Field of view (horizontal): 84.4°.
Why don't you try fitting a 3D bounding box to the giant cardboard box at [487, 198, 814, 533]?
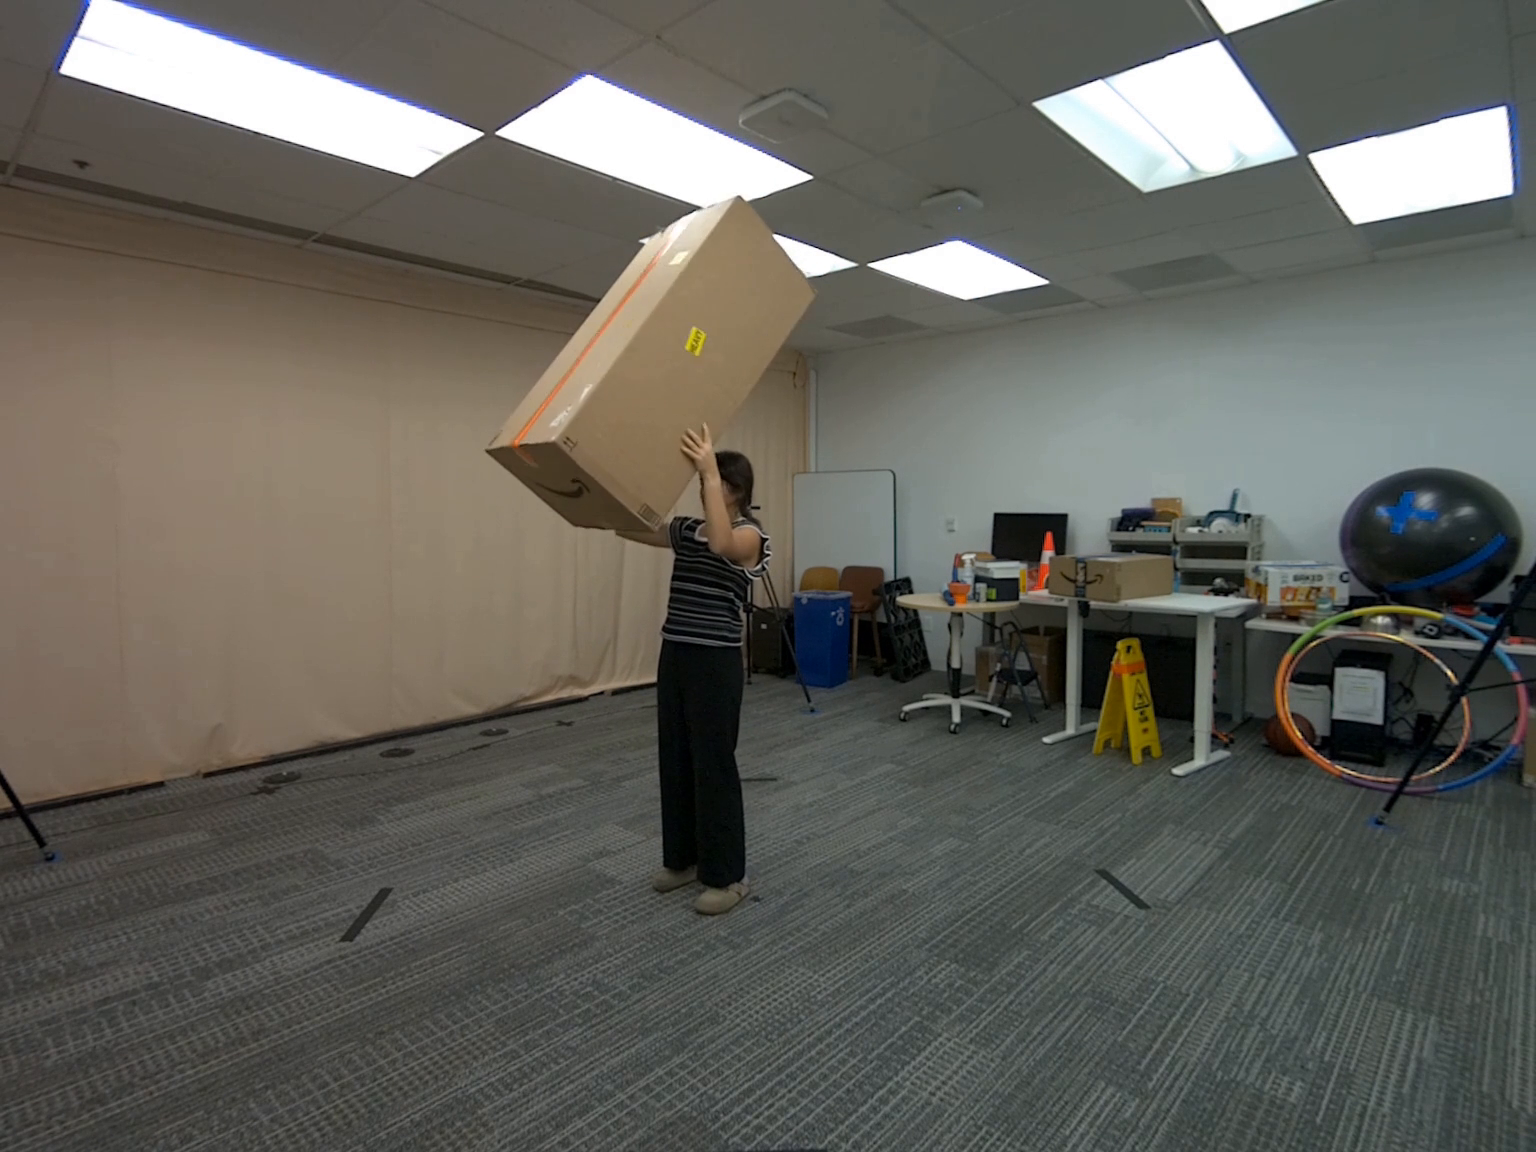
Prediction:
[{"bbox_3d":[-0.389,-0.669,2.823,0.413,1.025,0.596,43,-21,-32],"label":"giant cardboard box"}]
